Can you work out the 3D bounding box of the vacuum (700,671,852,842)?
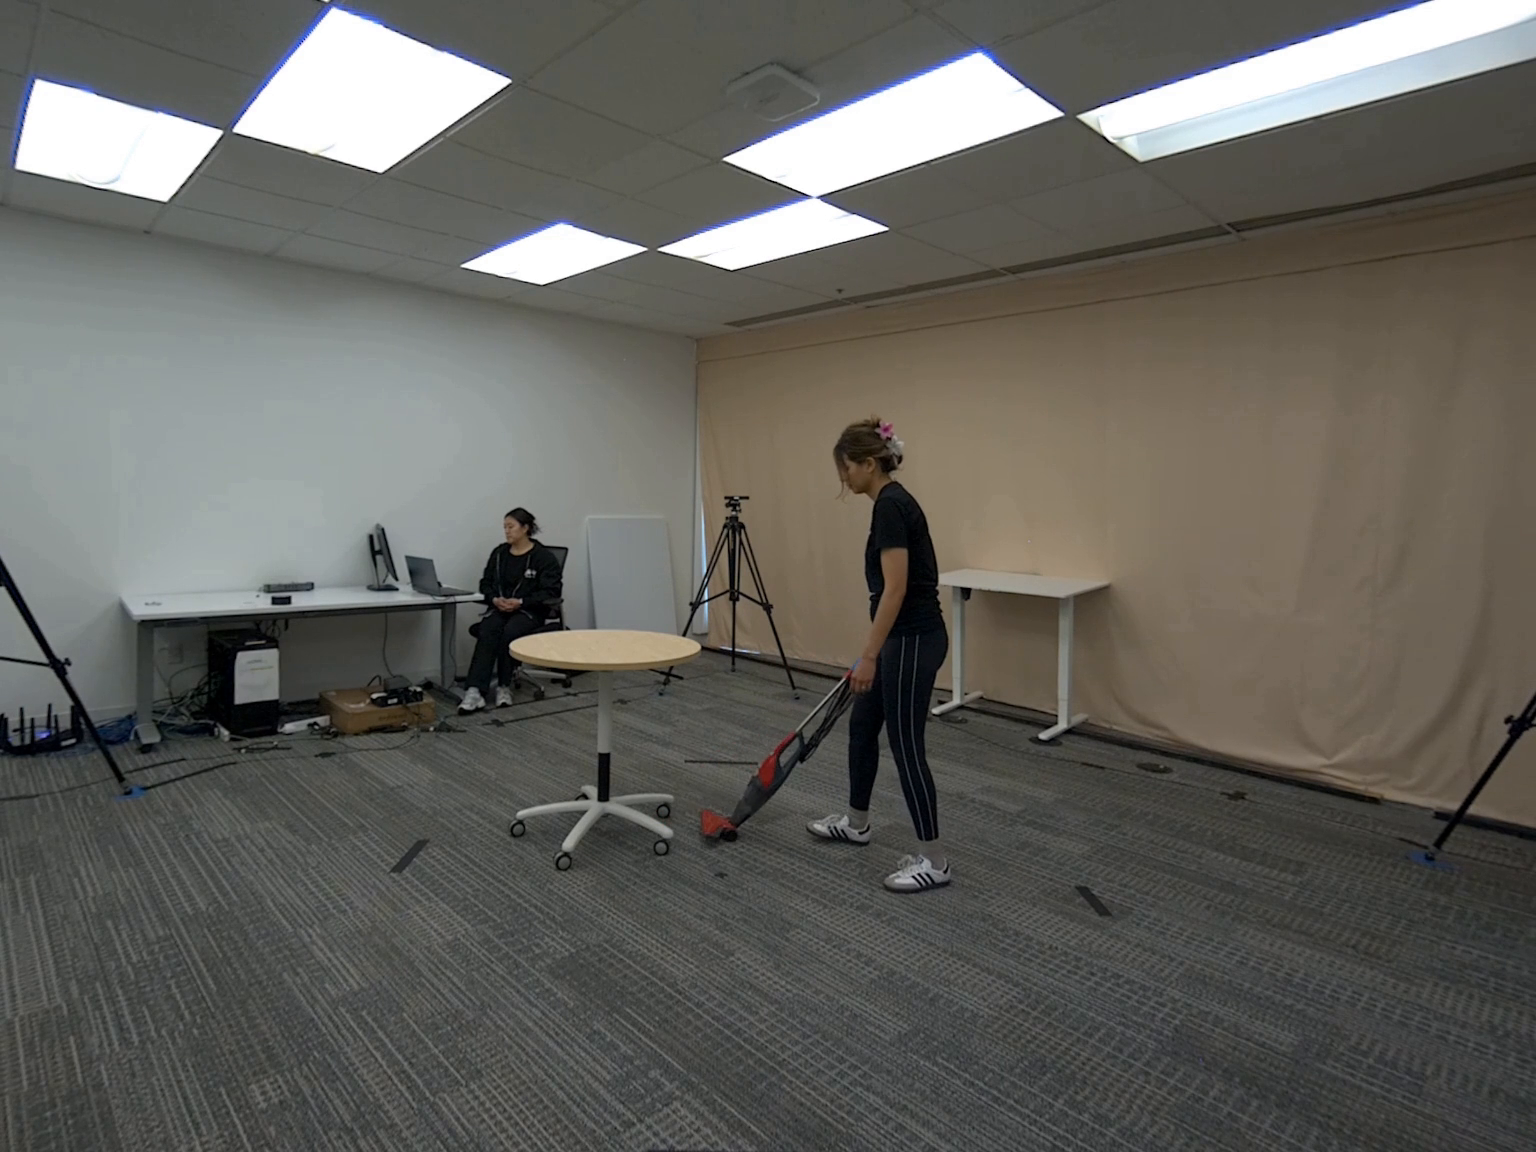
[{"bbox_3d":[0.138,0.666,3.467,0.143,1.049,0.254,43,-1,-7],"label":"vacuum"}]
